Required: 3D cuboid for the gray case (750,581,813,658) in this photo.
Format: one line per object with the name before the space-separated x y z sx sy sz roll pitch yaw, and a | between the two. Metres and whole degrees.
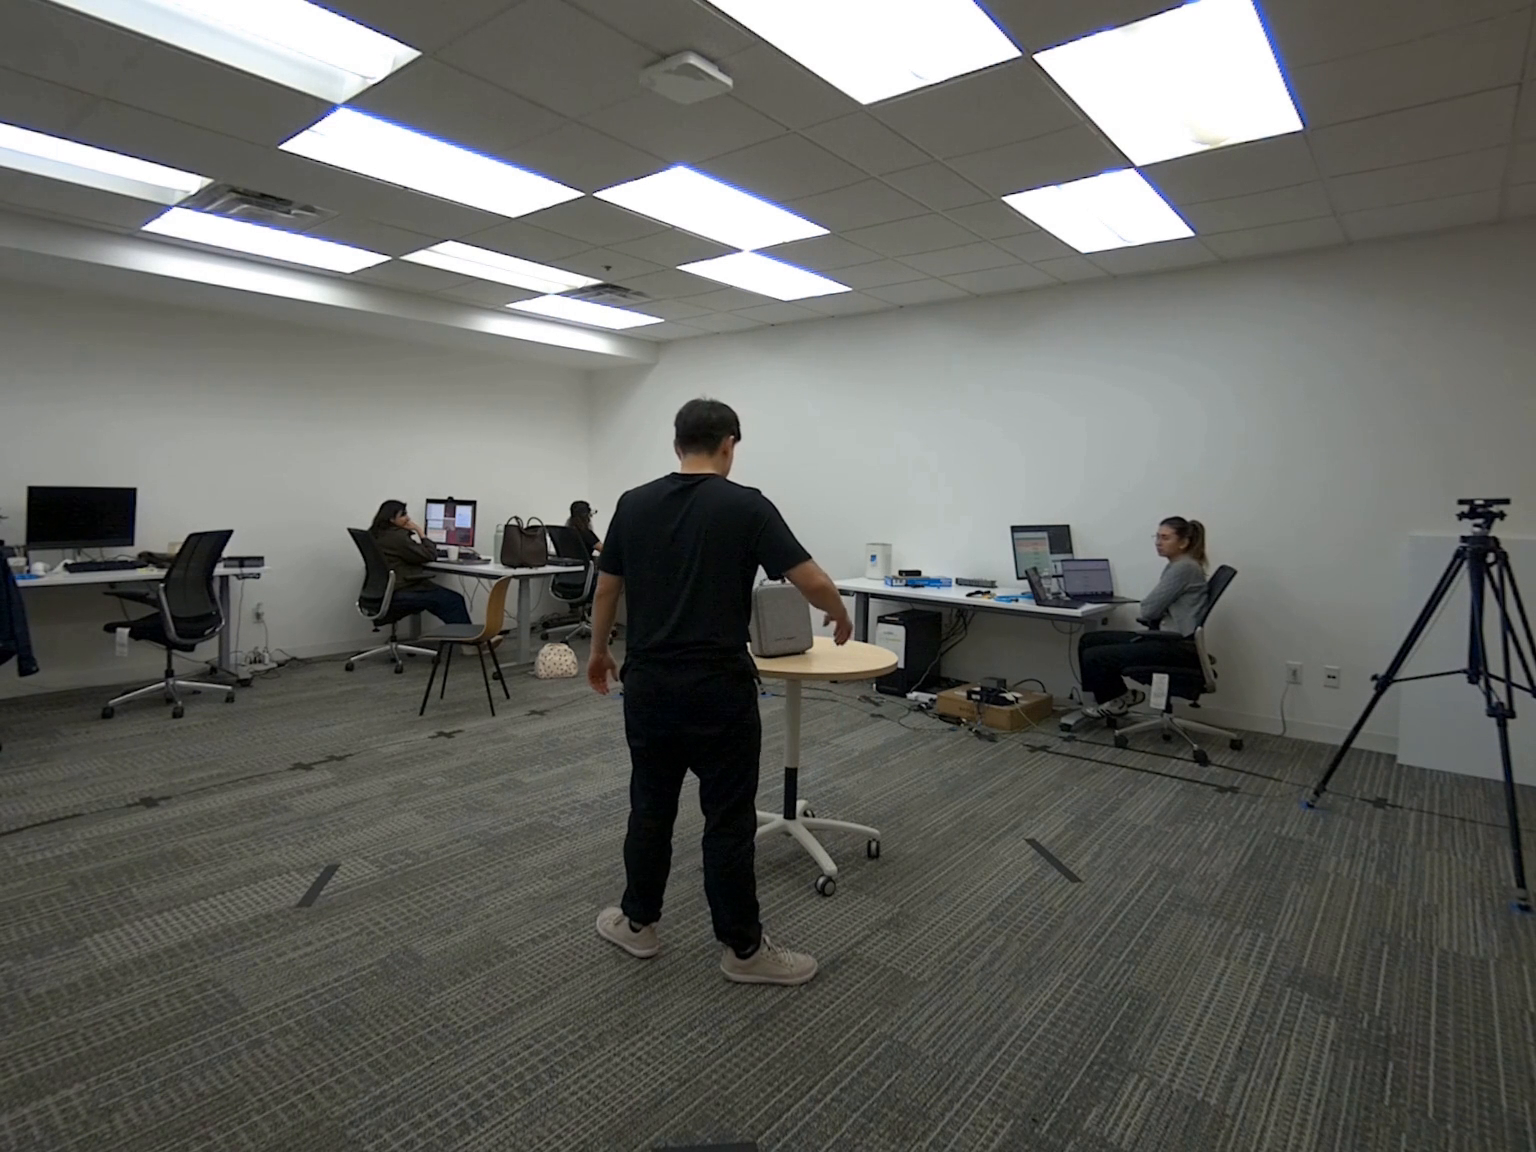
gray case | 0.034 0.155 3.159 0.249 0.262 0.107 -1 -7 -38
